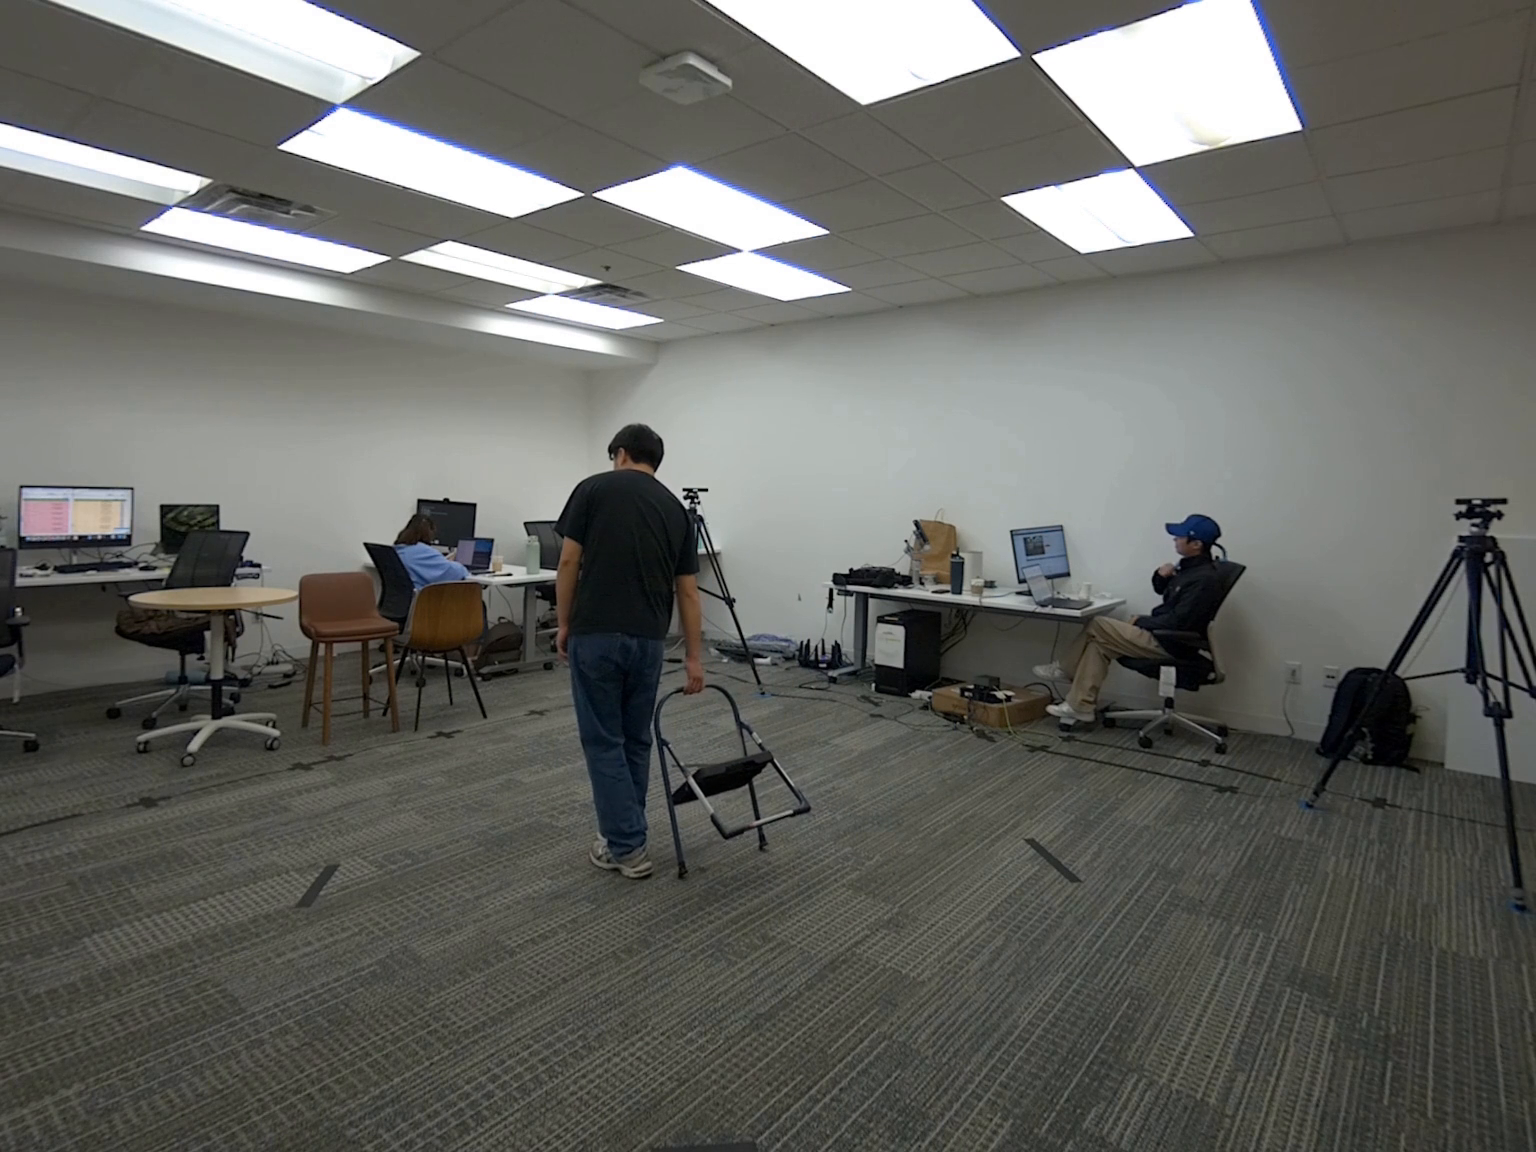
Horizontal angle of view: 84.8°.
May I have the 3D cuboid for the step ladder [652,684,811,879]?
[{"bbox_3d":[-0.215,0.717,3.197,0.417,0.626,0.349,-2,-36,-42],"label":"step ladder"}]
